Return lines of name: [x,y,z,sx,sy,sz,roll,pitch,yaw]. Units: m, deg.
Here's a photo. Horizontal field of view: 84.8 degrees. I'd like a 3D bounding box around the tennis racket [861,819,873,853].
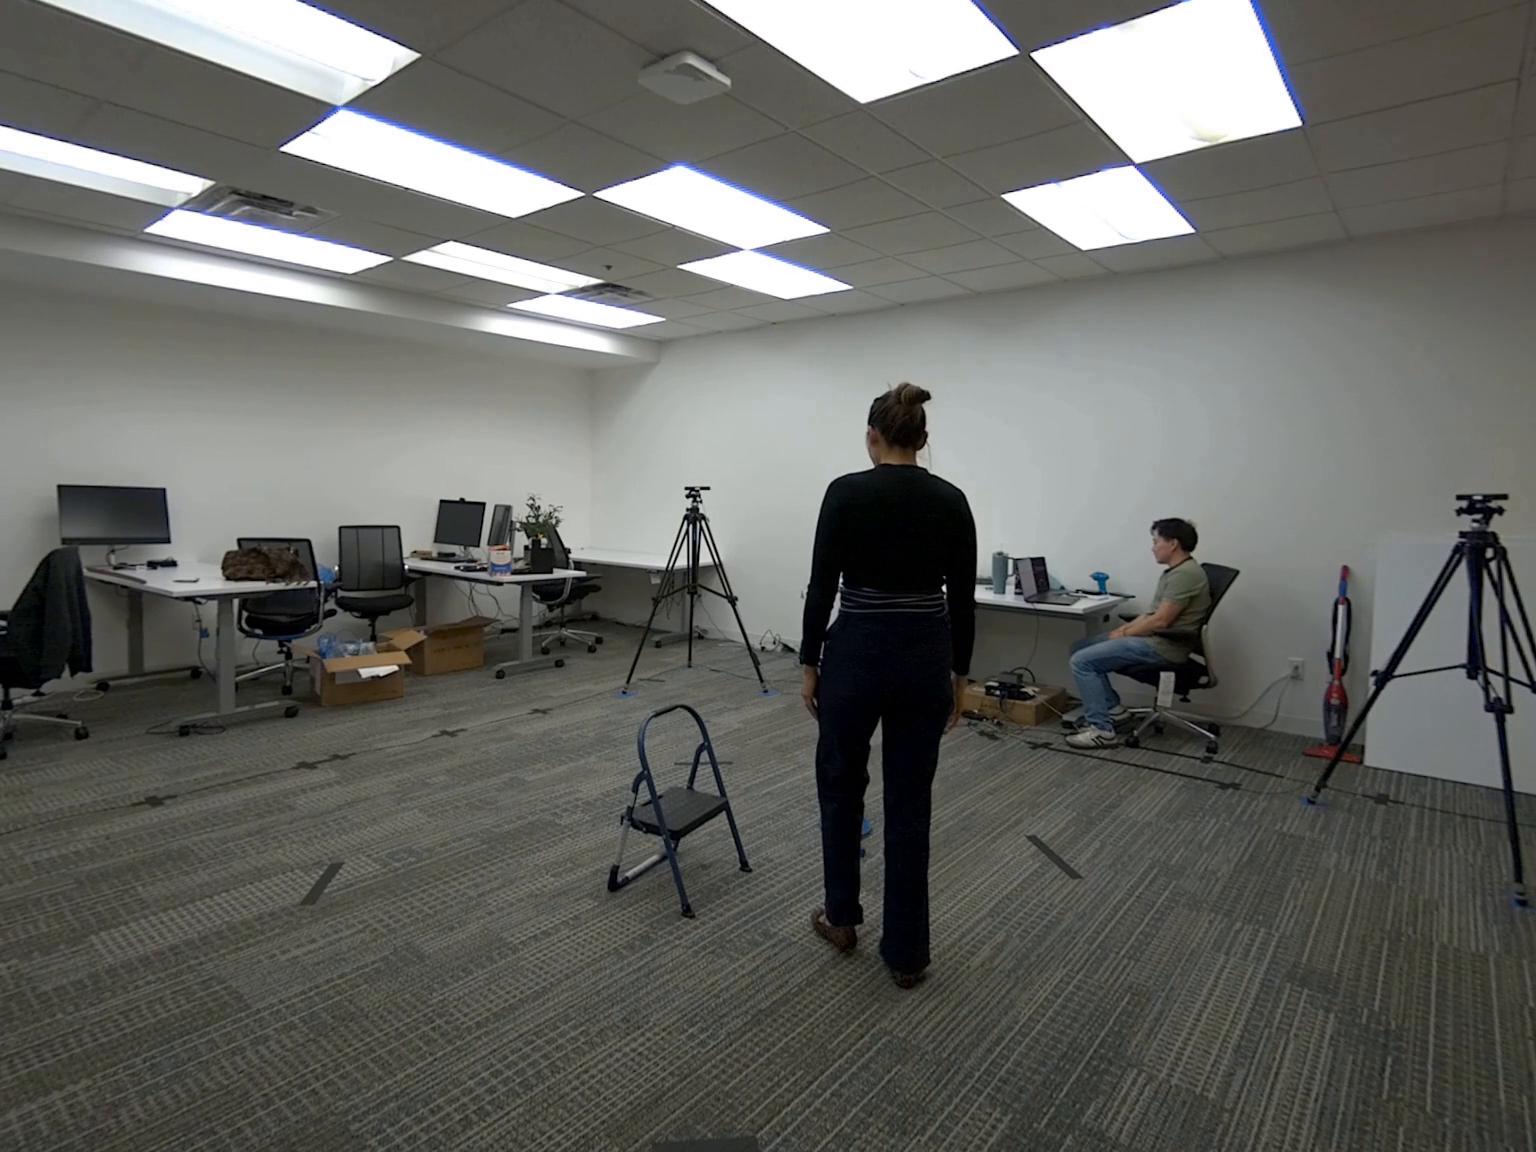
tennis racket: [0.313,1.021,3.435,0.213,0.032,0.435,0,4,-4]
